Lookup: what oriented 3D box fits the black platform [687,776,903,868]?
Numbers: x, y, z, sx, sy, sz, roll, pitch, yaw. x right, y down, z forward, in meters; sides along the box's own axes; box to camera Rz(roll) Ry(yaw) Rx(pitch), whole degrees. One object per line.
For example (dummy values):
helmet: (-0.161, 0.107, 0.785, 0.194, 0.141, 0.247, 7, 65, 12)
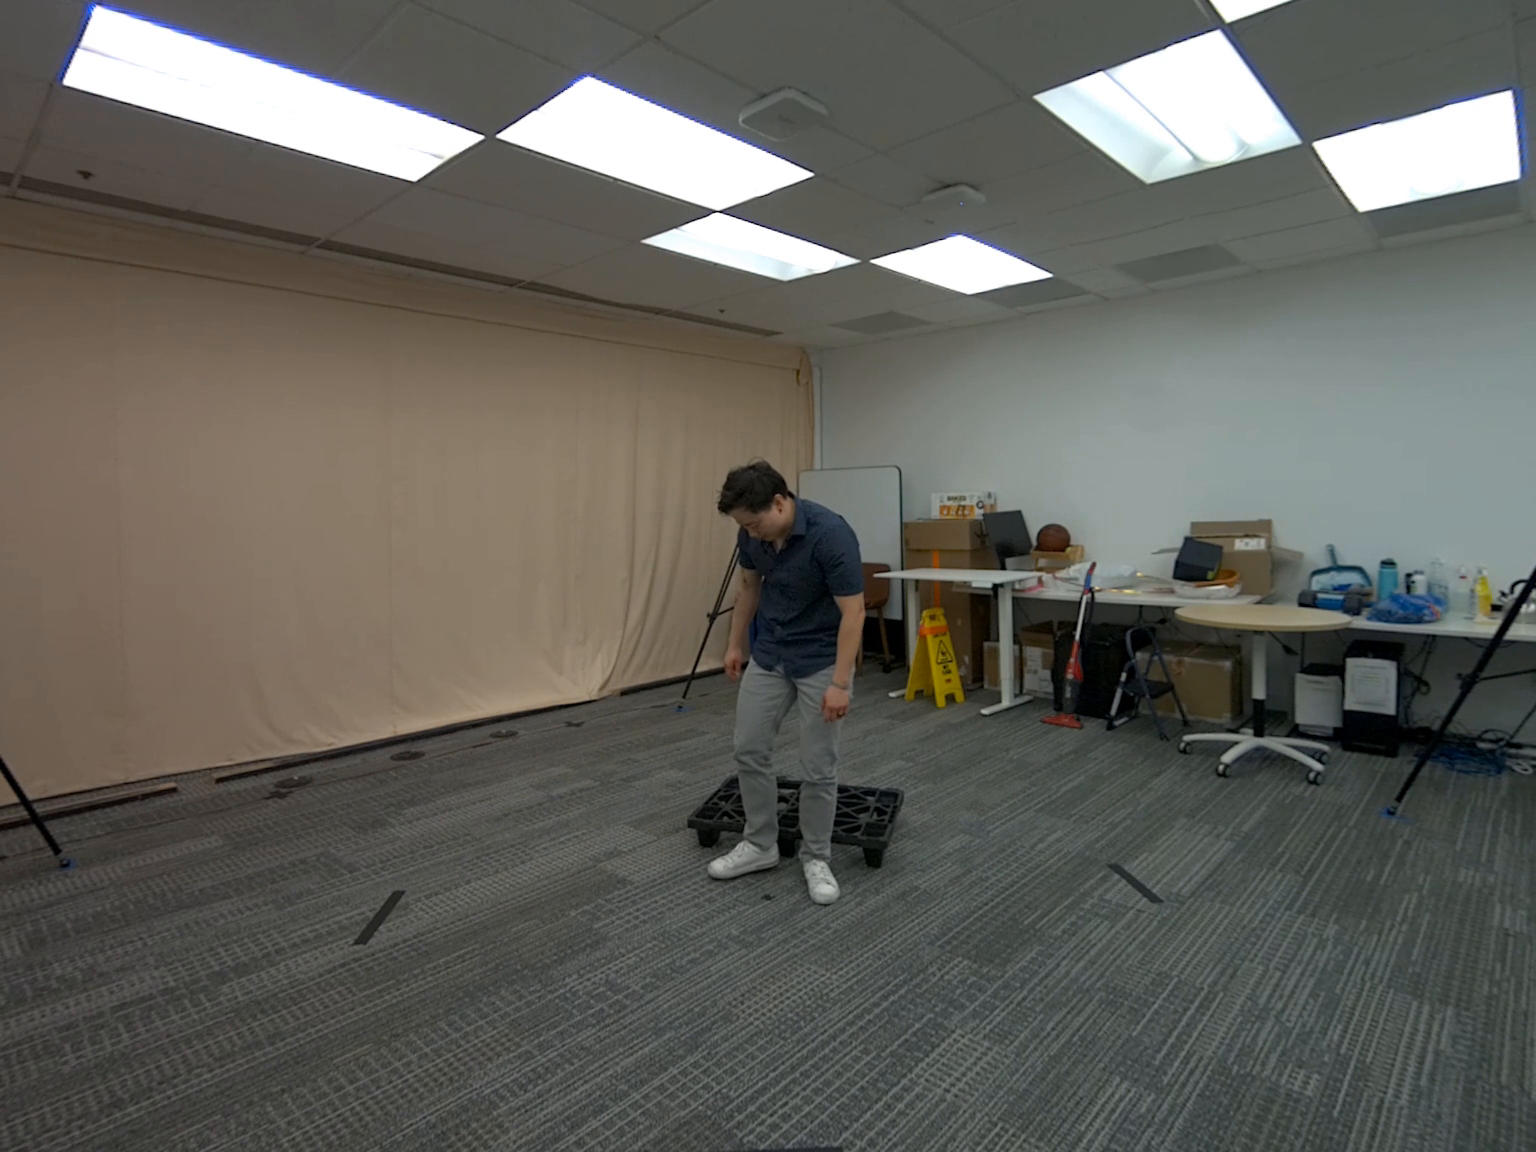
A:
black platform: (0.141, 1.022, 3.530, 0.821, 0.143, 0.595, 0, 5, 18)
